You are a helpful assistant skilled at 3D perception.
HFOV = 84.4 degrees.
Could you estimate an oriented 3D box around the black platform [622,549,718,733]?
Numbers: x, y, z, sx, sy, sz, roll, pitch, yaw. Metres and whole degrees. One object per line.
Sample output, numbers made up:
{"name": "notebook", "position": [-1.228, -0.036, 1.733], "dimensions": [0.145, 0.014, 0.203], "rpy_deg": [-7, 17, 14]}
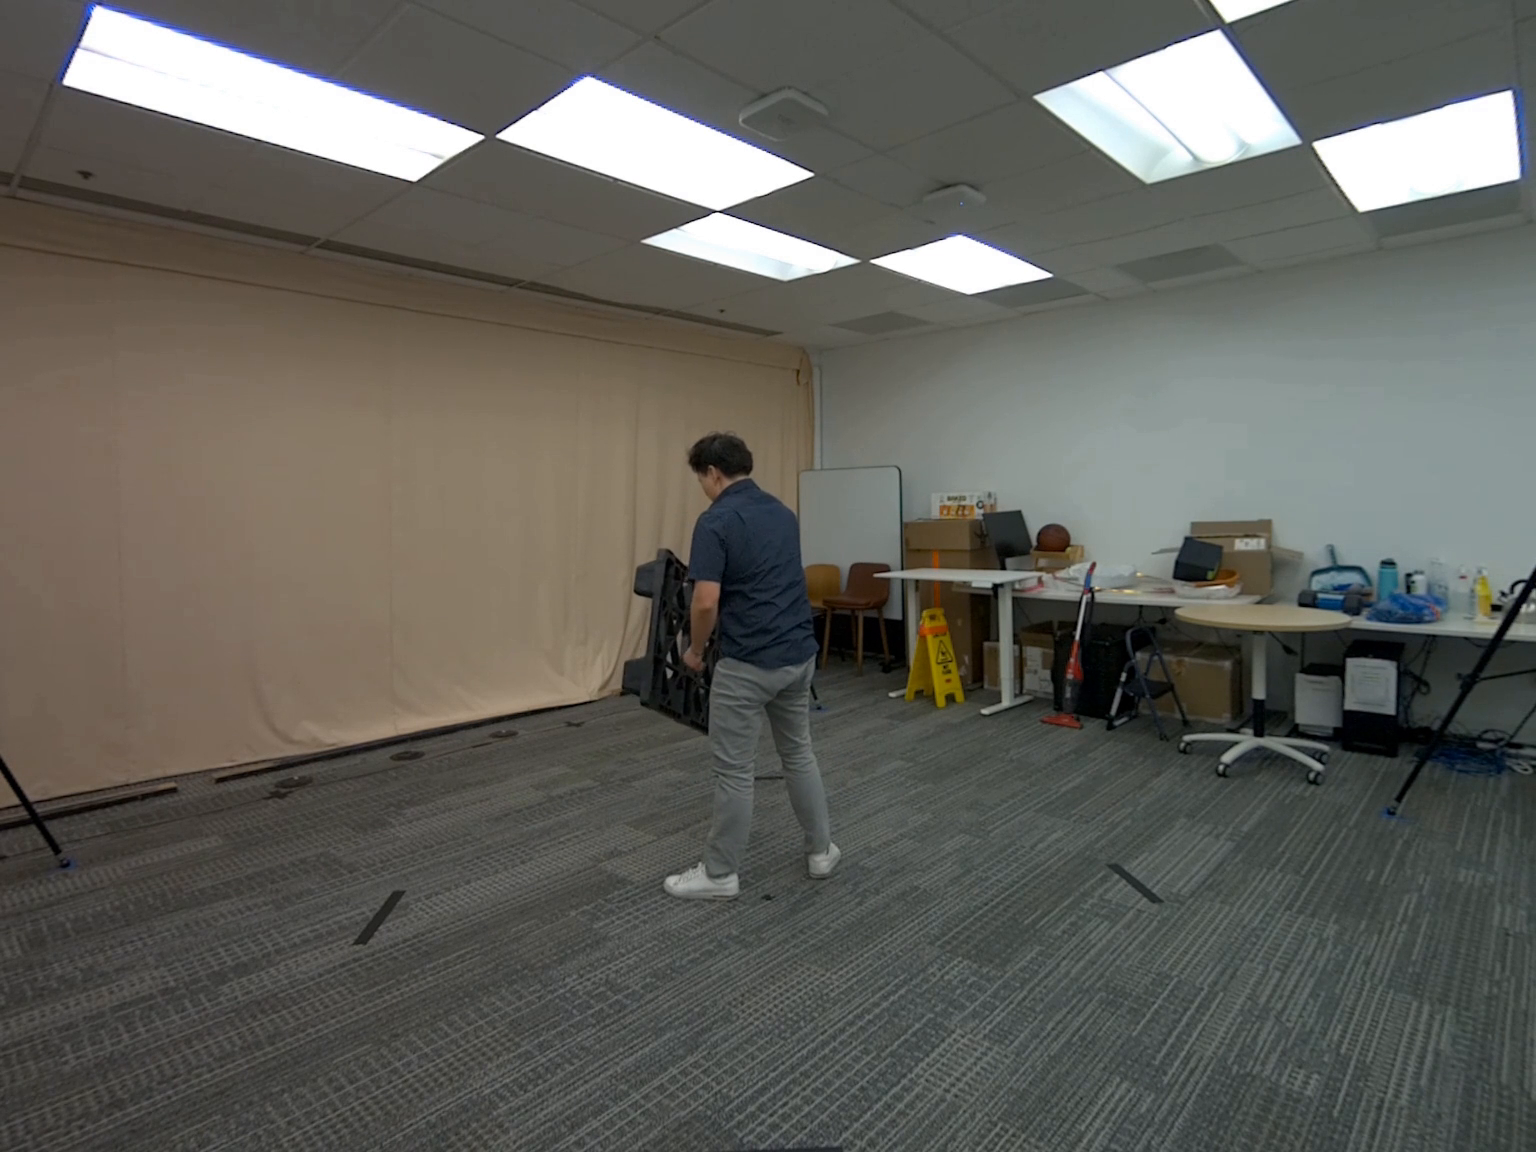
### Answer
{"name": "black platform", "position": [-0.366, 0.306, 3.457], "dimensions": [0.146, 0.611, 0.783], "rpy_deg": [-2, -20, 15]}
